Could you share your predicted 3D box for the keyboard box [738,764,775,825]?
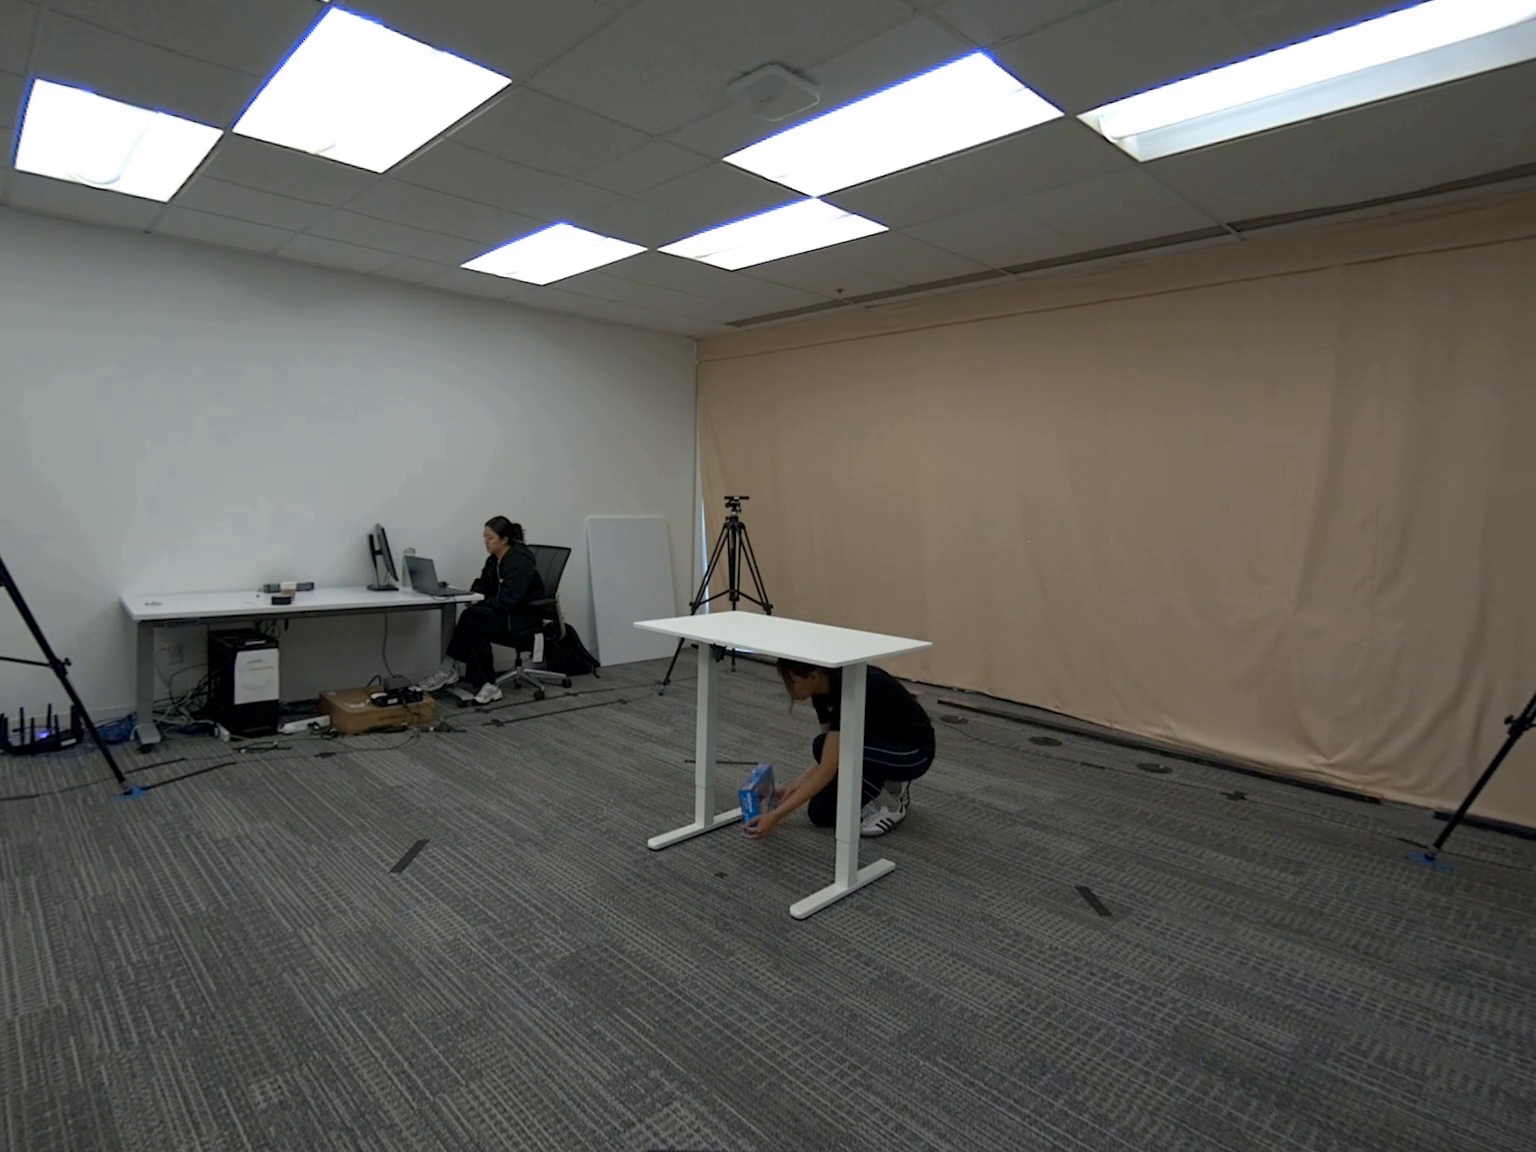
[{"bbox_3d":[-0.044,0.897,3.421,0.059,0.176,0.433,-8,-1,10],"label":"keyboard box"}]
